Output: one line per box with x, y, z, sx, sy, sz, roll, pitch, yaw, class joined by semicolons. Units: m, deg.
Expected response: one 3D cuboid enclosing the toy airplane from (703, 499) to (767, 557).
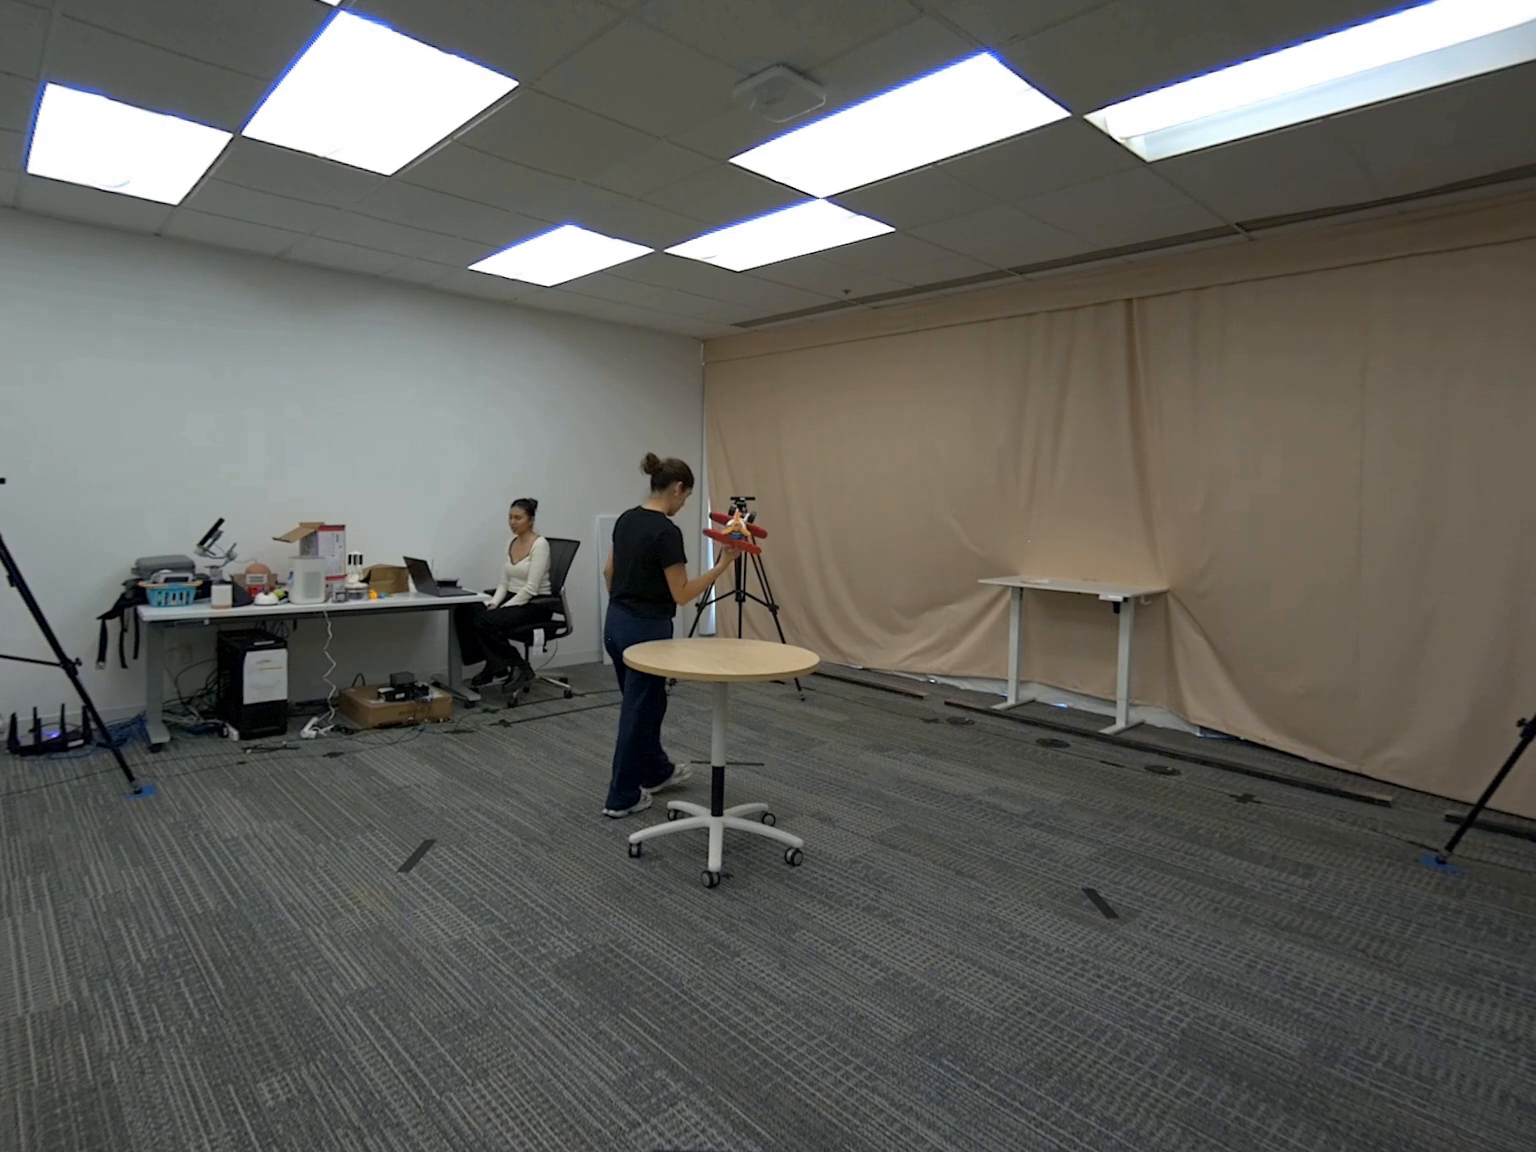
-0.124;-0.162;3.488;0.256;0.158;0.251;4;-38;25;toy airplane
